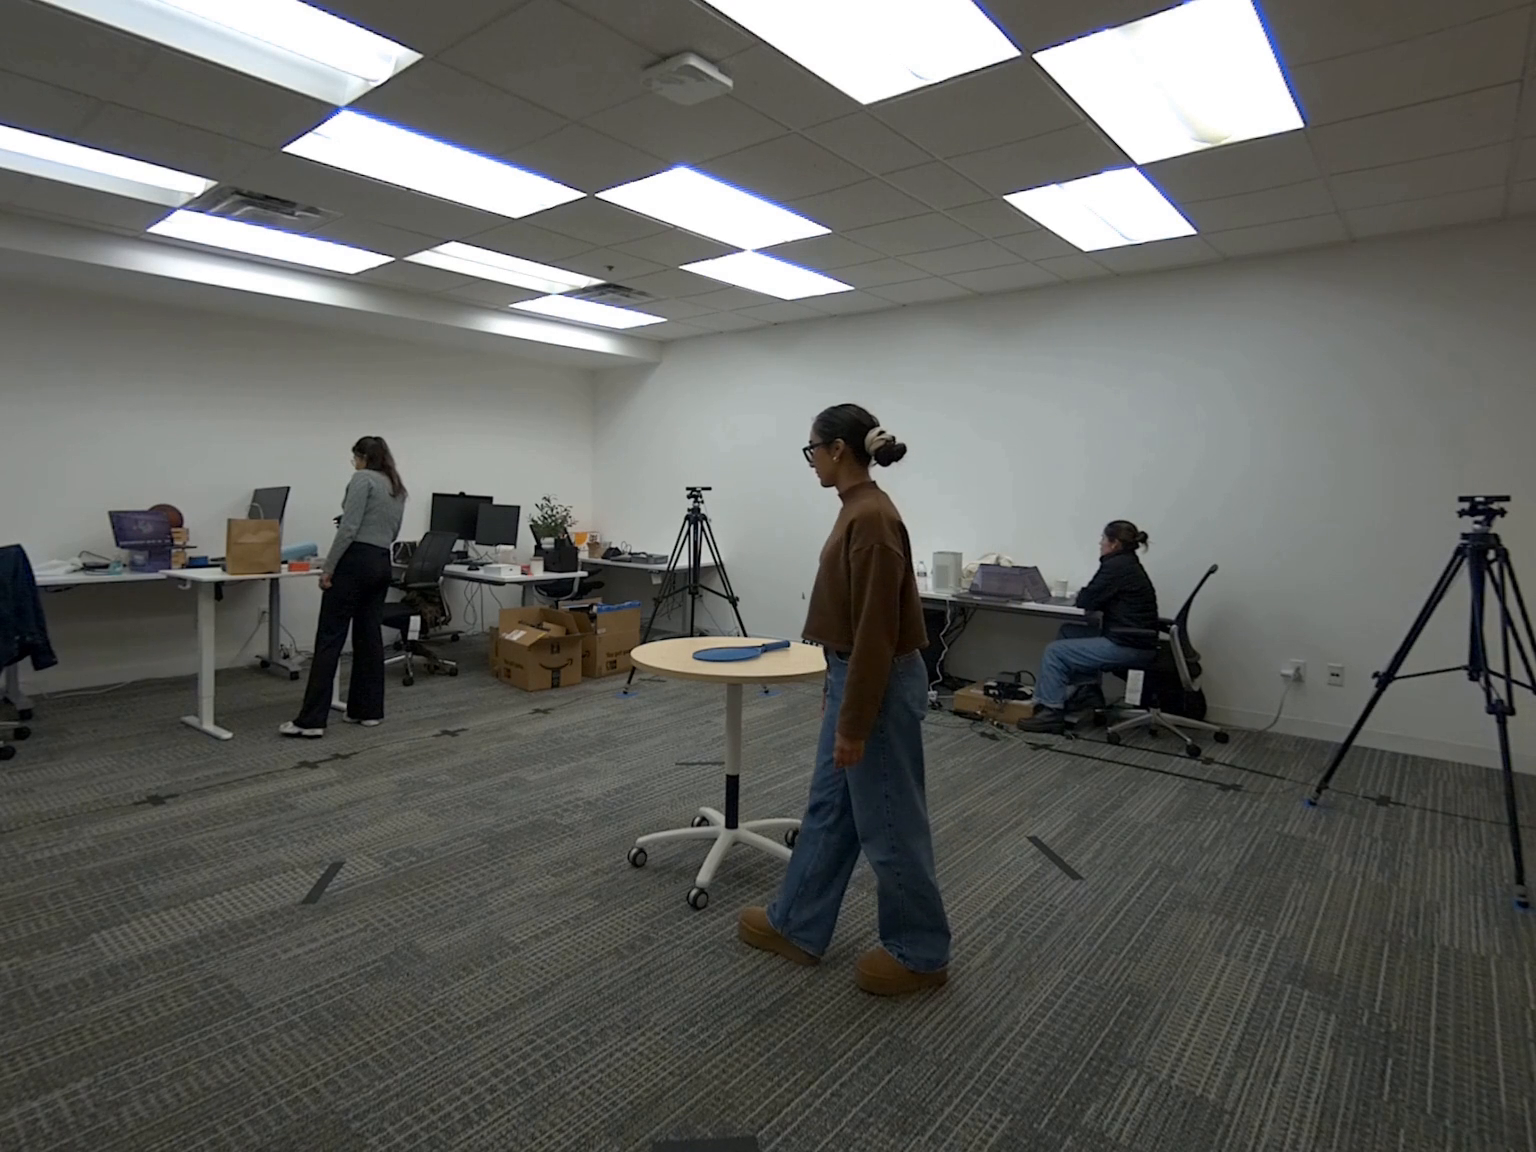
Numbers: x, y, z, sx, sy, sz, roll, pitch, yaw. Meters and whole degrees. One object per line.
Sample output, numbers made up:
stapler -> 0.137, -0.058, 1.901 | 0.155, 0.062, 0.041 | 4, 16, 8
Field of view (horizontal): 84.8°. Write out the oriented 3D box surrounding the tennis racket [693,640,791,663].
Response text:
tennis racket -> -0.095, 0.278, 3.121 | 0.420, 0.031, 0.221 | -5, 8, -38
